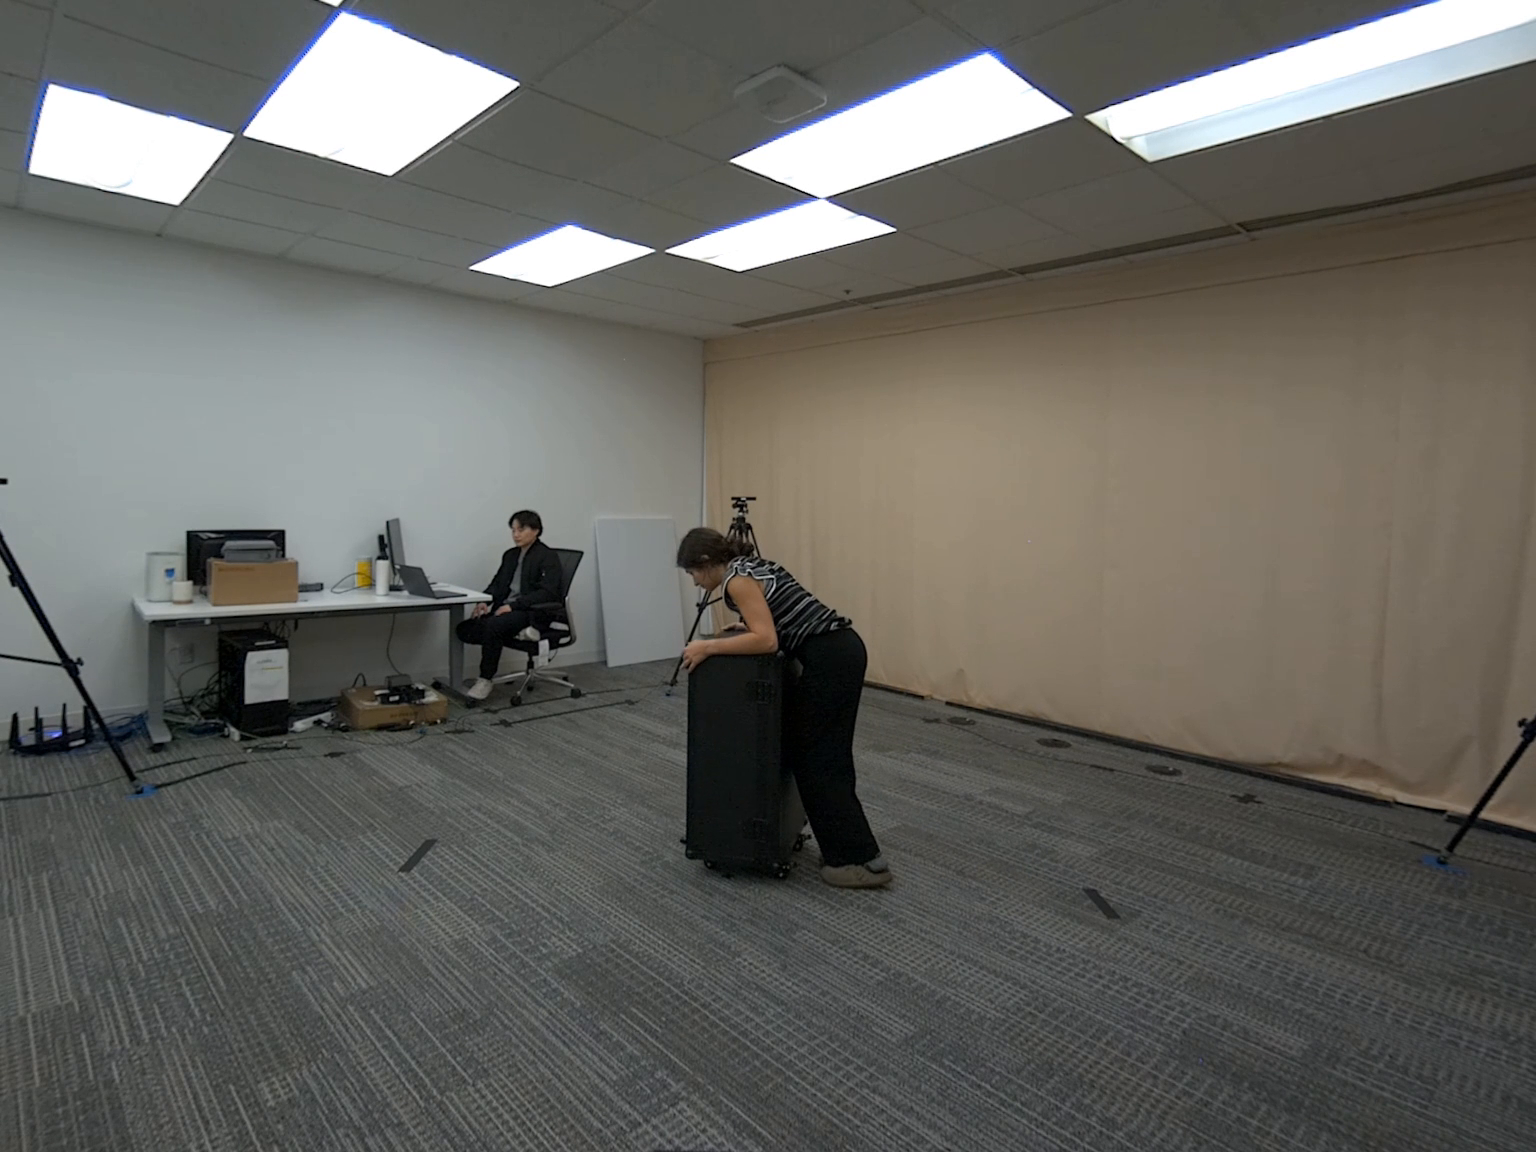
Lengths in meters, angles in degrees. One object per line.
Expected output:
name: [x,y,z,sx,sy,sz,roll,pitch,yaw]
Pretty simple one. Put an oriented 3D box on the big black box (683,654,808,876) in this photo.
big black box: [-0.086,0.678,3.237,0.401,0.860,0.516,0,2,14]
